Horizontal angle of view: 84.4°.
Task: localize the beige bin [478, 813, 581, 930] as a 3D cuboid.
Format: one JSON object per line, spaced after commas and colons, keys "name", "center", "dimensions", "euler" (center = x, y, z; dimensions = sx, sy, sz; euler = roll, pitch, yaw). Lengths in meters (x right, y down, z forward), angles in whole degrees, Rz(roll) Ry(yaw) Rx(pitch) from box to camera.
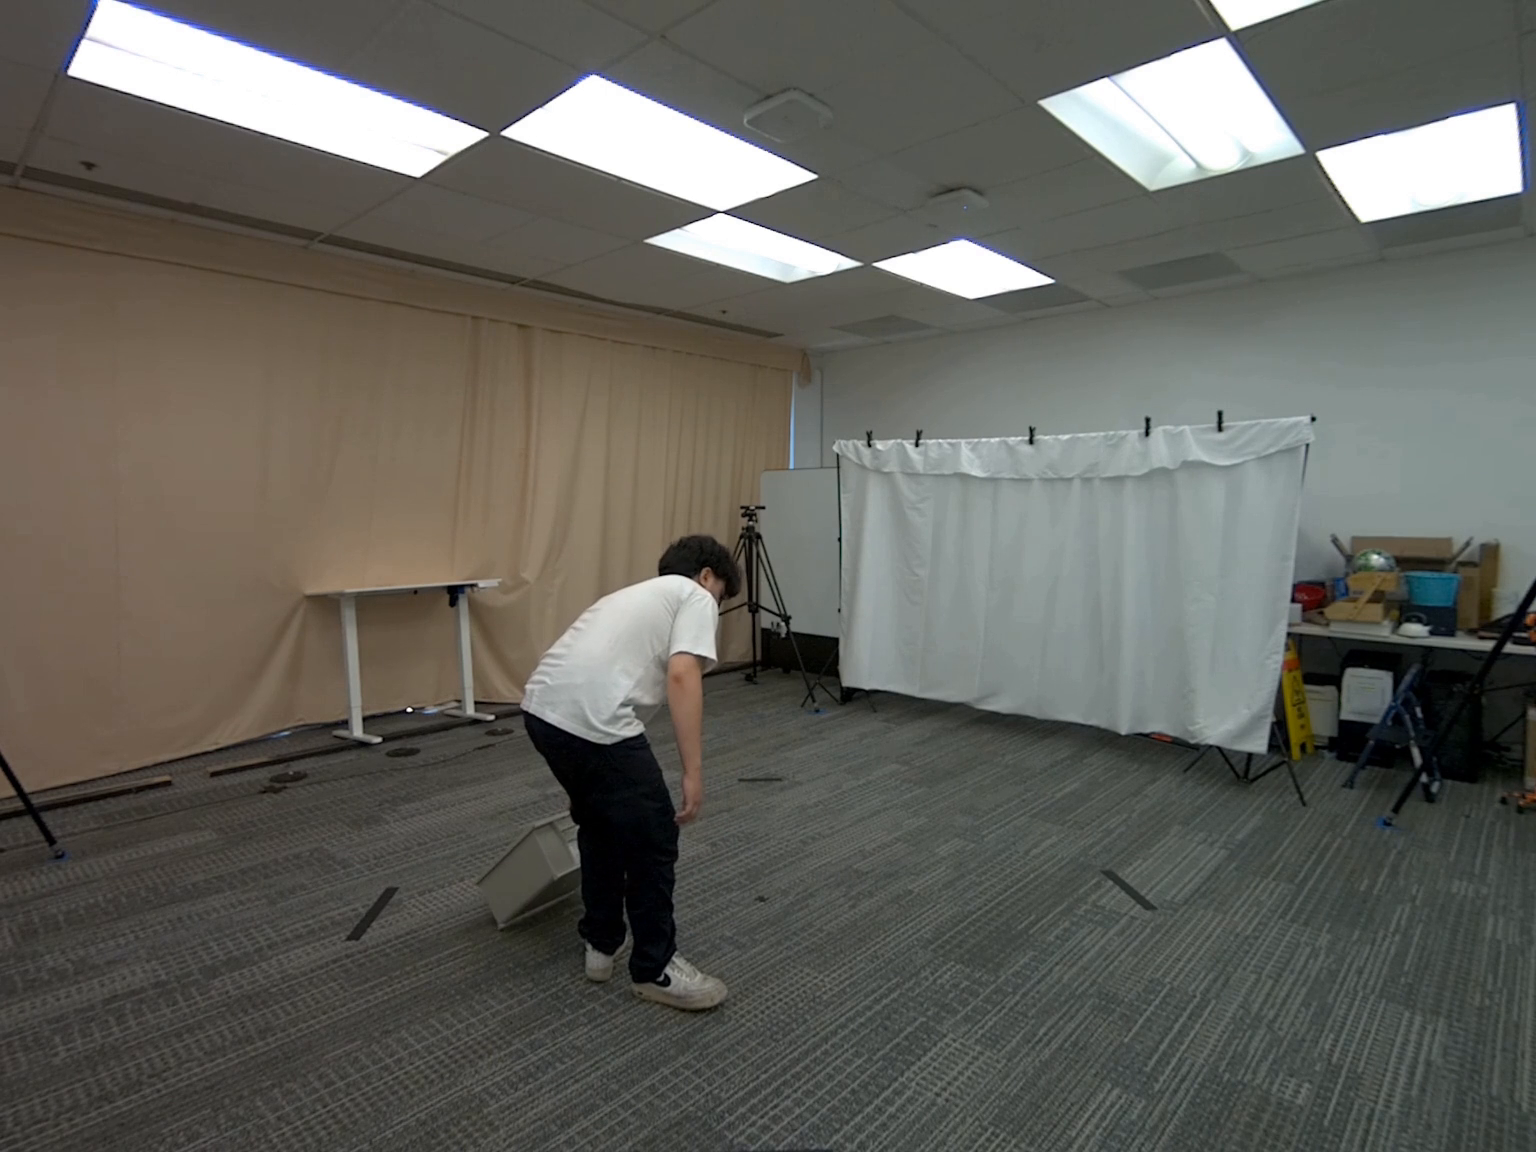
{"name": "beige bin", "center": [-0.705, 0.961, 2.832], "dimensions": [0.426, 0.193, 0.366], "euler": [-44, -21, 31]}
